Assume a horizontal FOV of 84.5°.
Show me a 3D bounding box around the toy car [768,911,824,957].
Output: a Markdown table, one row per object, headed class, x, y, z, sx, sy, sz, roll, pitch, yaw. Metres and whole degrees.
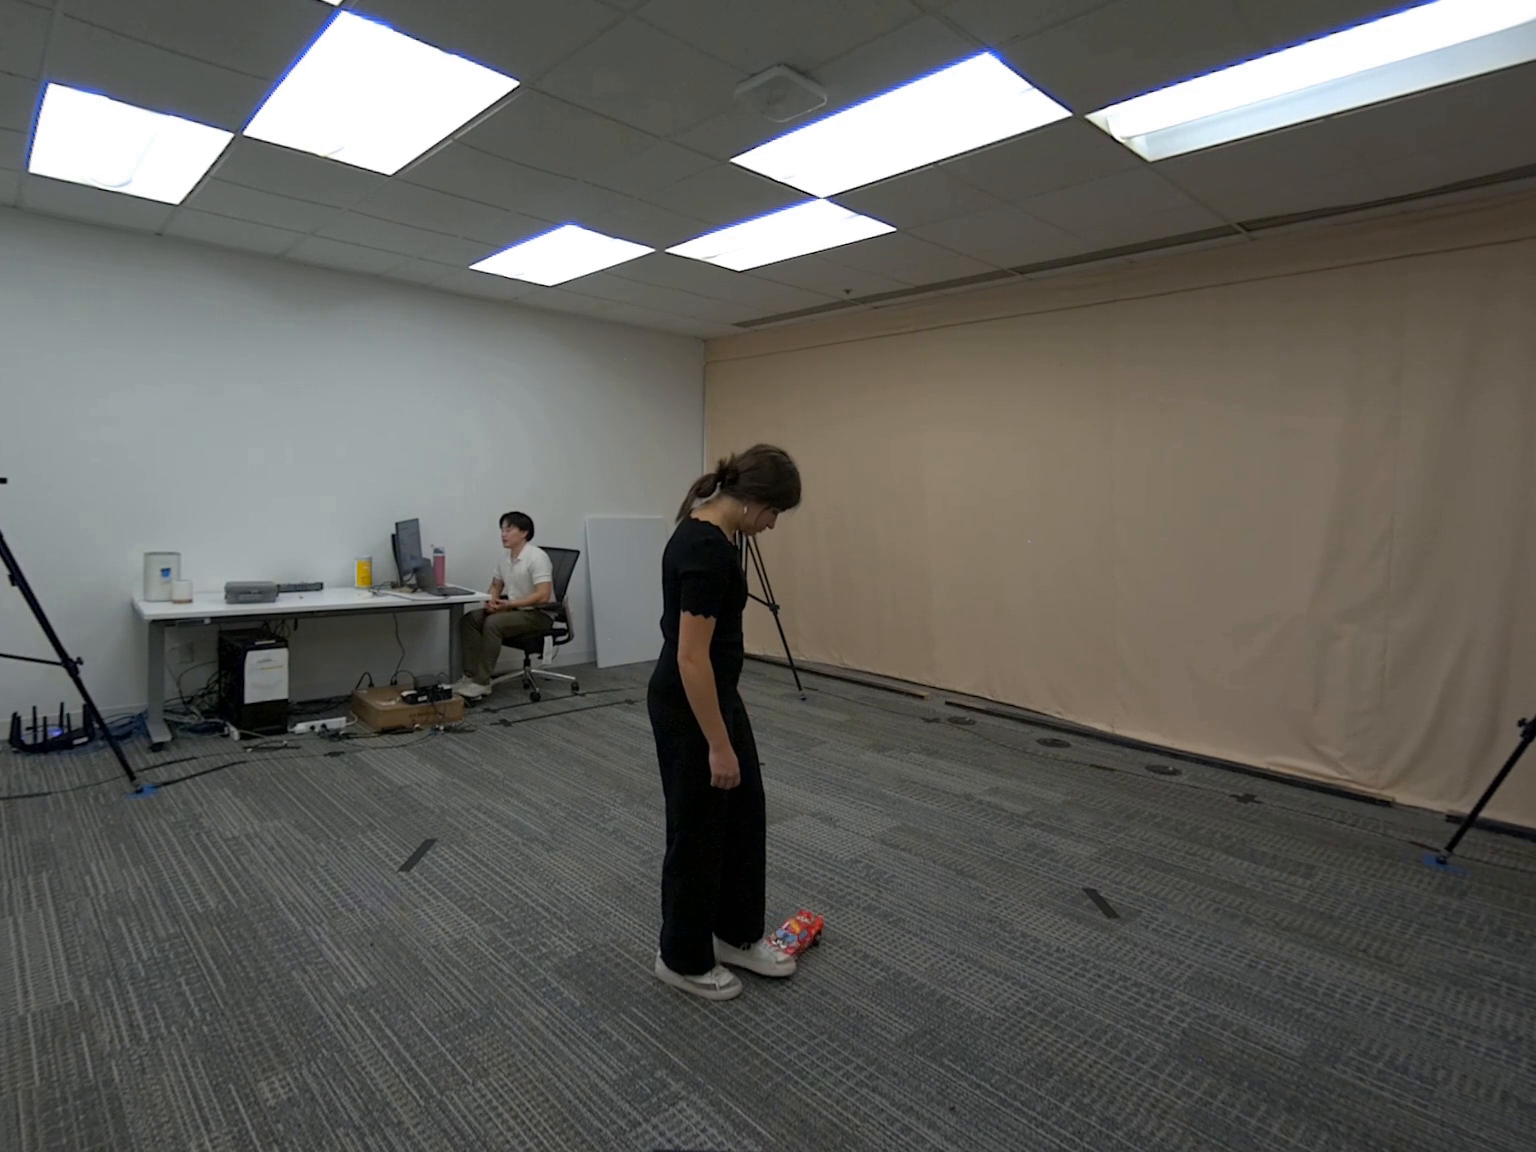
| class | x | y | z | sx | sy | sz | roll | pitch | yaw |
| --- | --- | --- | --- | --- | --- | --- | --- | --- | --- |
| toy car | 0.079 | 1.122 | 2.624 | 0.133 | 0.082 | 0.251 | 5 | 18 | 33 |
